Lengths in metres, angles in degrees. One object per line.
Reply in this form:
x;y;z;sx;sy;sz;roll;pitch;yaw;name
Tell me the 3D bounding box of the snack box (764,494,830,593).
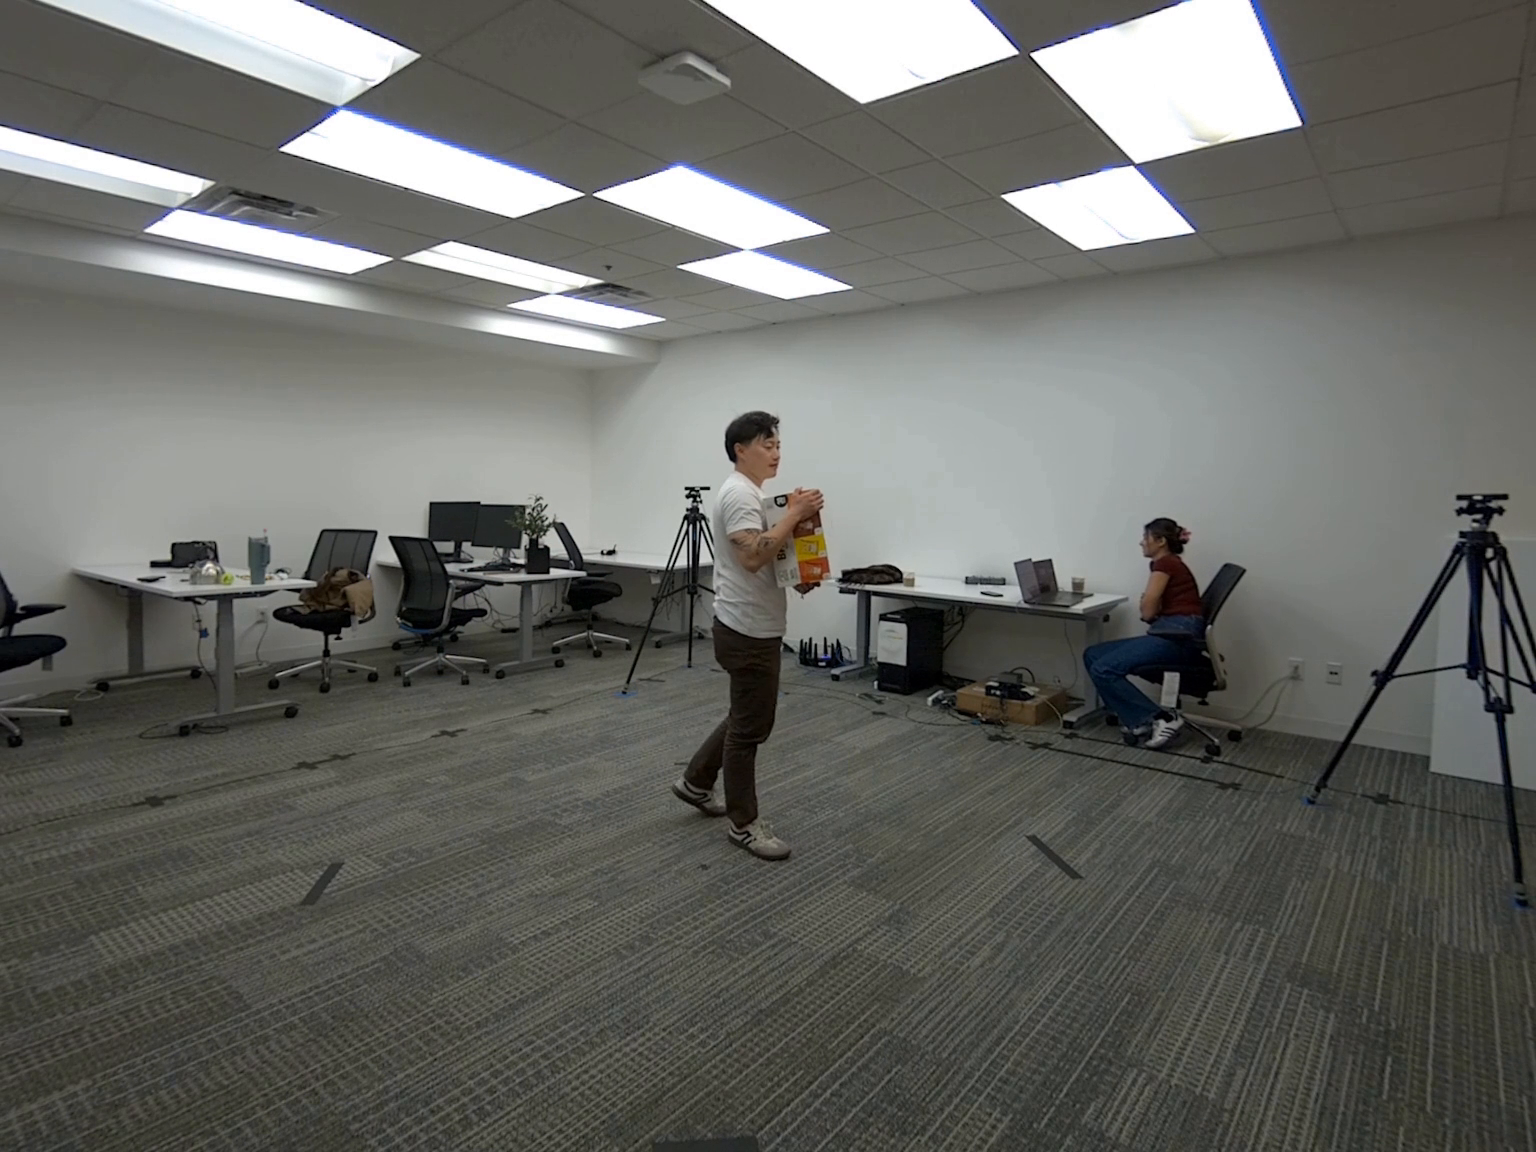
0.128;-0.143;3.322;0.208;0.341;0.399;-9;-2;11;snack box
